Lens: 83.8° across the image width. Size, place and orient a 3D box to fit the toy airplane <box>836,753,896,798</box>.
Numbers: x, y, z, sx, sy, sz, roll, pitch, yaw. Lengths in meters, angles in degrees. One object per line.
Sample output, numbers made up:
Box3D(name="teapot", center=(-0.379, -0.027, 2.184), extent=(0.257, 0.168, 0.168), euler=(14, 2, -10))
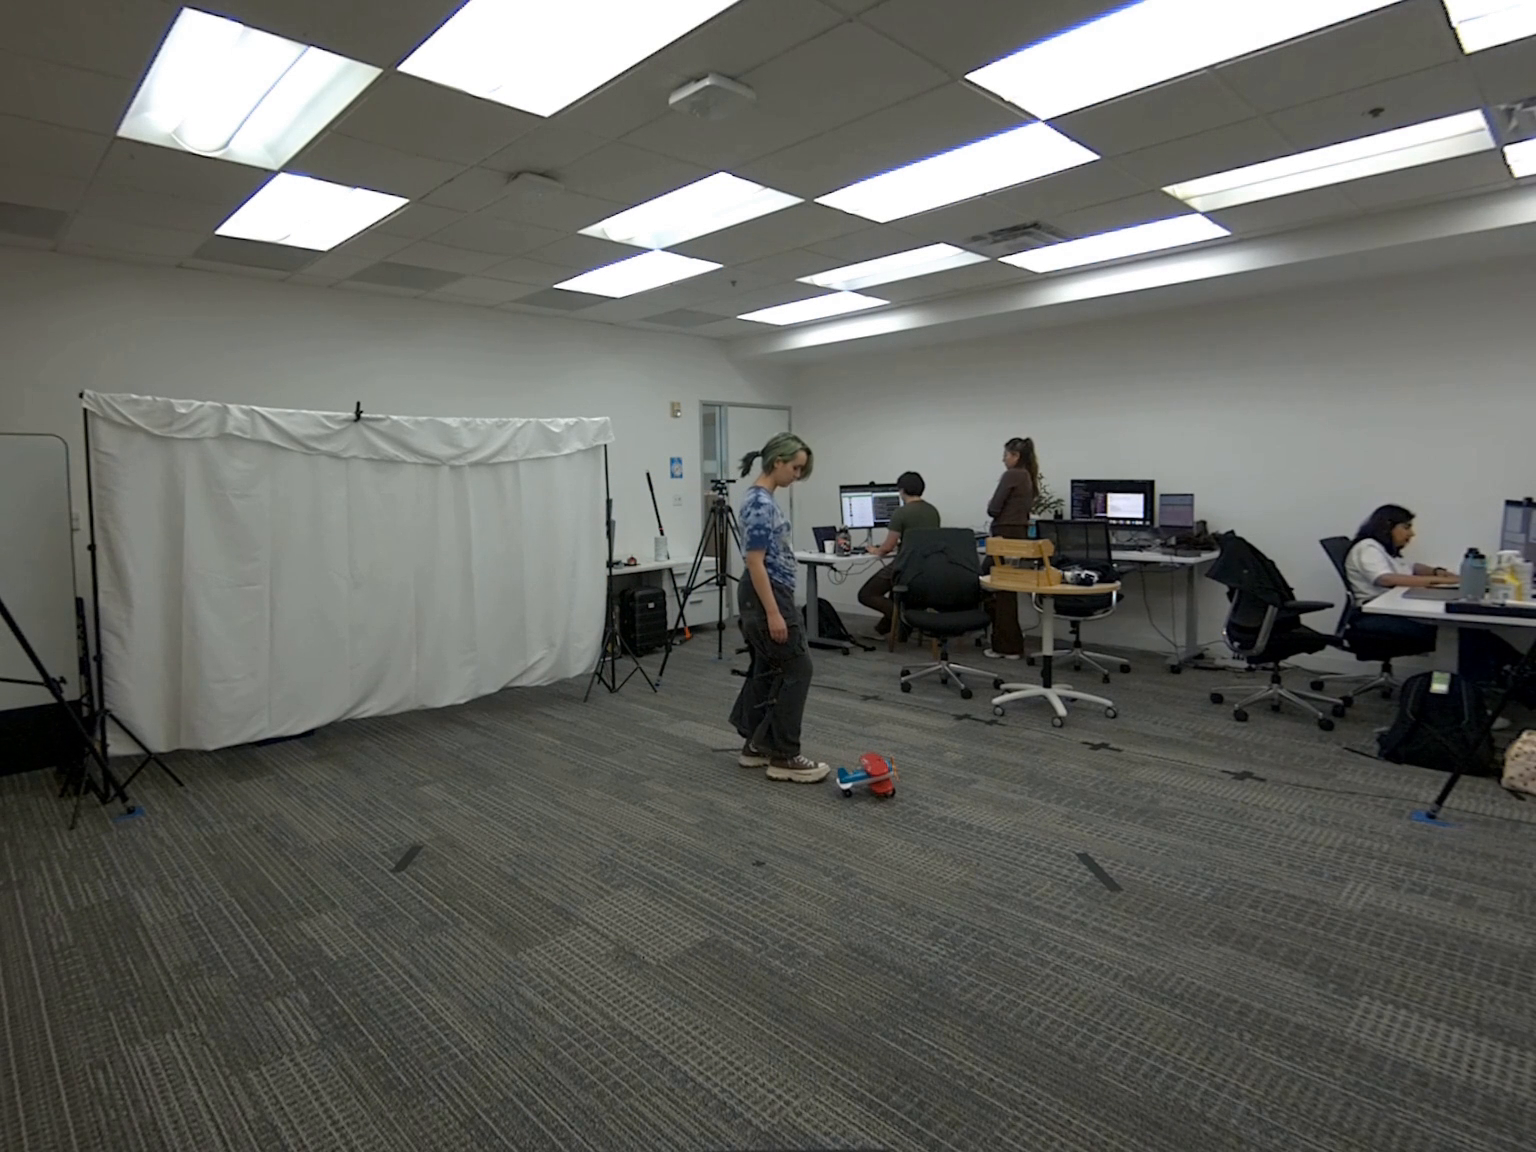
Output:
Box3D(name="toy airplane", center=(0.445, 0.892, 3.749), extent=(0.253, 0.156, 0.259), euler=(-4, 7, -35))
